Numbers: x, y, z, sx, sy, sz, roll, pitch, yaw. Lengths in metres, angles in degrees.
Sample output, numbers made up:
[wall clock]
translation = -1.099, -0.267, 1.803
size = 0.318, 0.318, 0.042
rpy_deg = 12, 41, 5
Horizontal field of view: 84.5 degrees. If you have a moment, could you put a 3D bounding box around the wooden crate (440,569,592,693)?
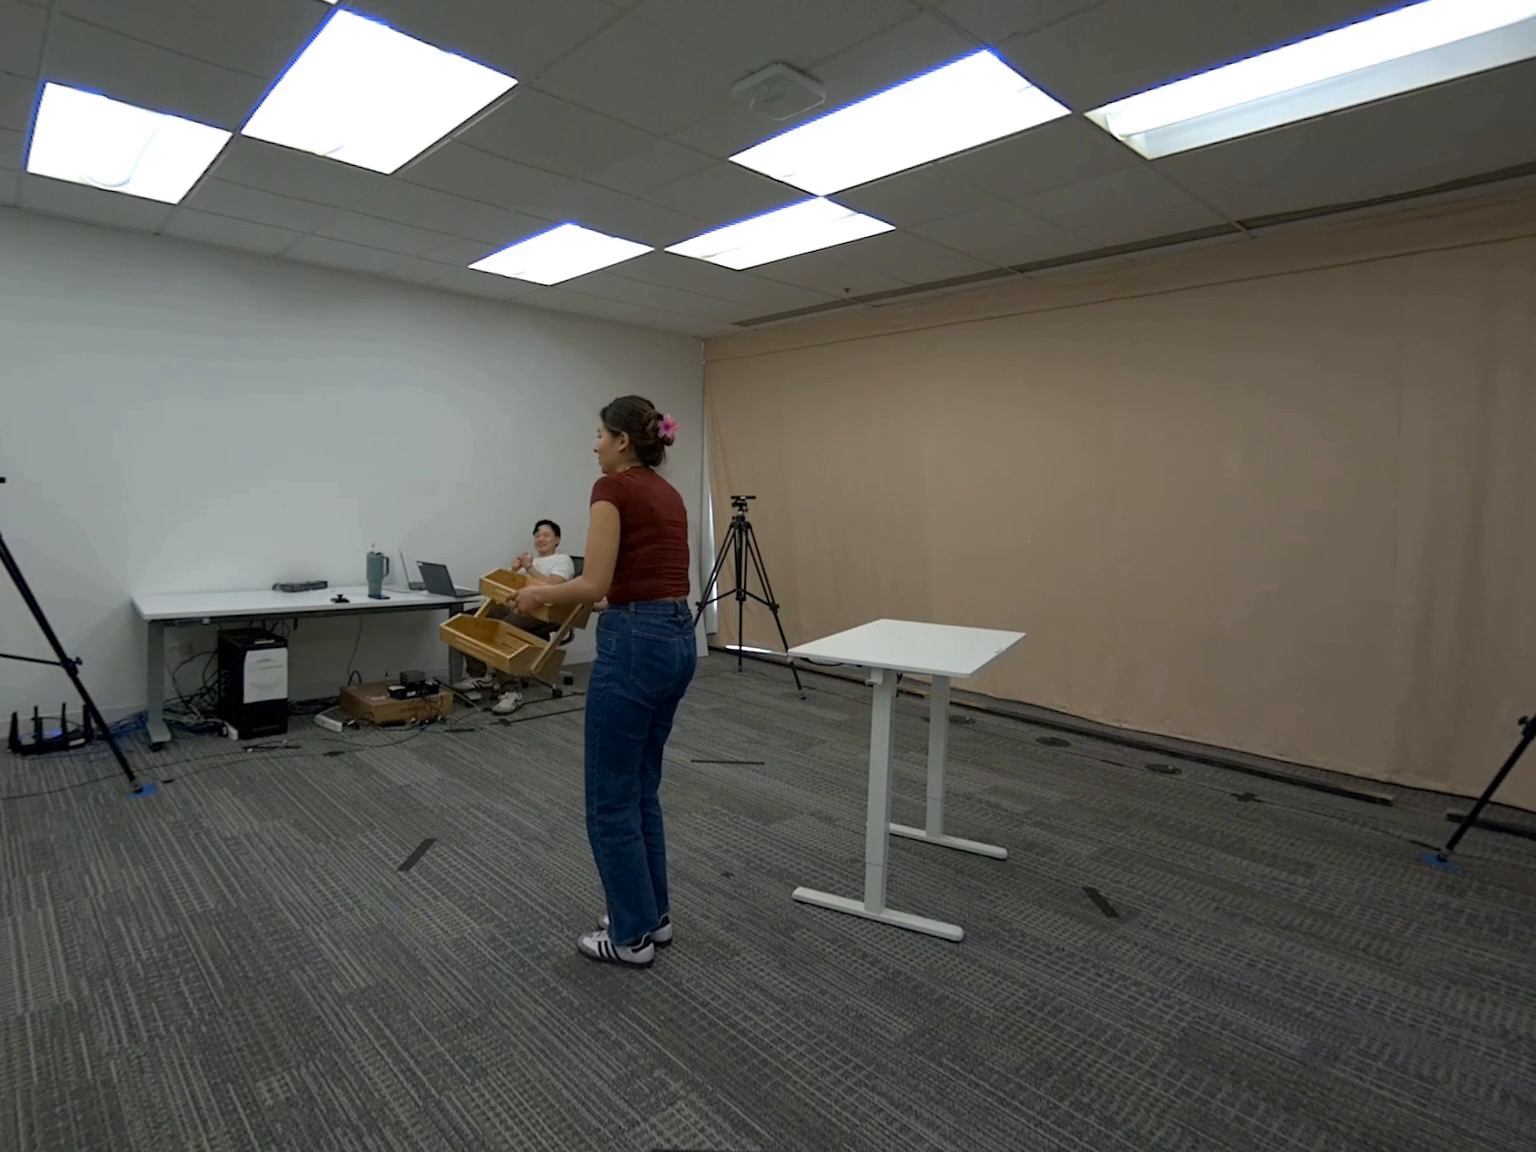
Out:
[wooden crate]
translation = -0.787, 0.143, 2.630
size = 0.332, 0.273, 0.294
rpy_deg = 19, -2, 27
